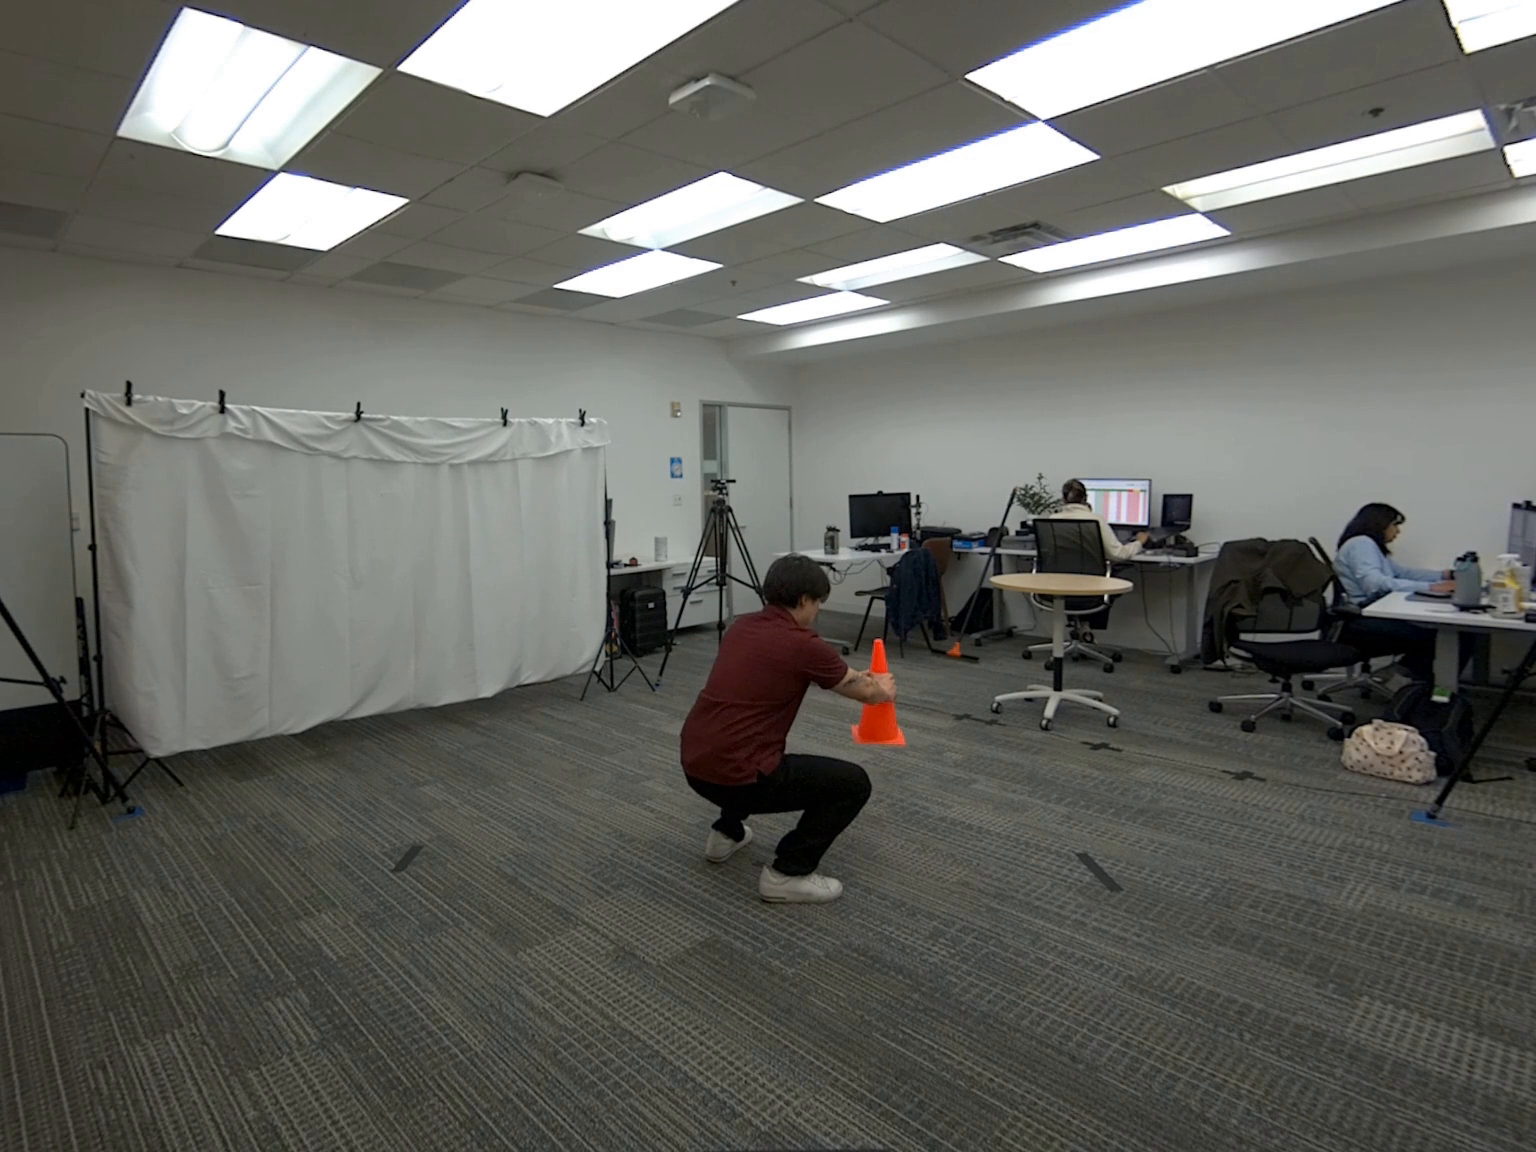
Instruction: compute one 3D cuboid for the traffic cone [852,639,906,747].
[{"bbox_3d":[0.434,0.428,3.344,0.206,0.381,0.203,-1,8,7],"label":"traffic cone"}]
